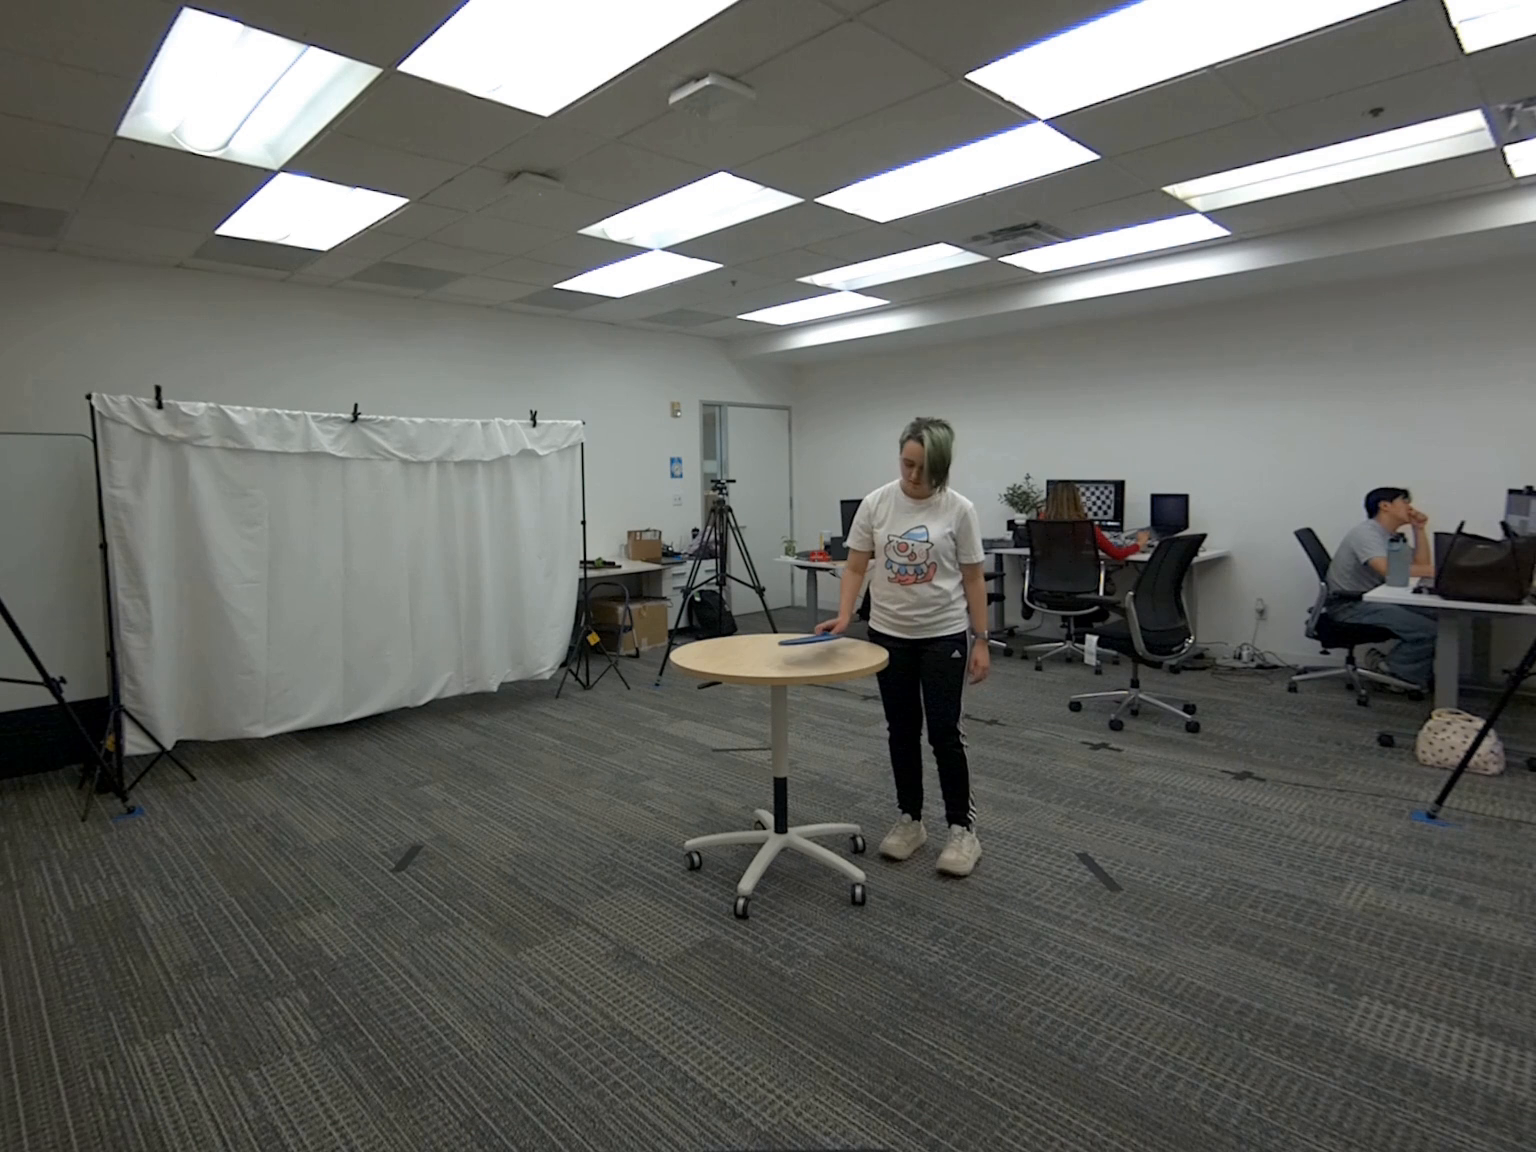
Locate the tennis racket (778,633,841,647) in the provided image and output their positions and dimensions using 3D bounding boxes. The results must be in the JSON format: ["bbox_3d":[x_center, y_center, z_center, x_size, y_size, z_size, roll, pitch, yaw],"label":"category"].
[{"bbox_3d":[0.178,0.214,2.939,0.218,0.032,0.423,-8,-2,25],"label":"tennis racket"}]
